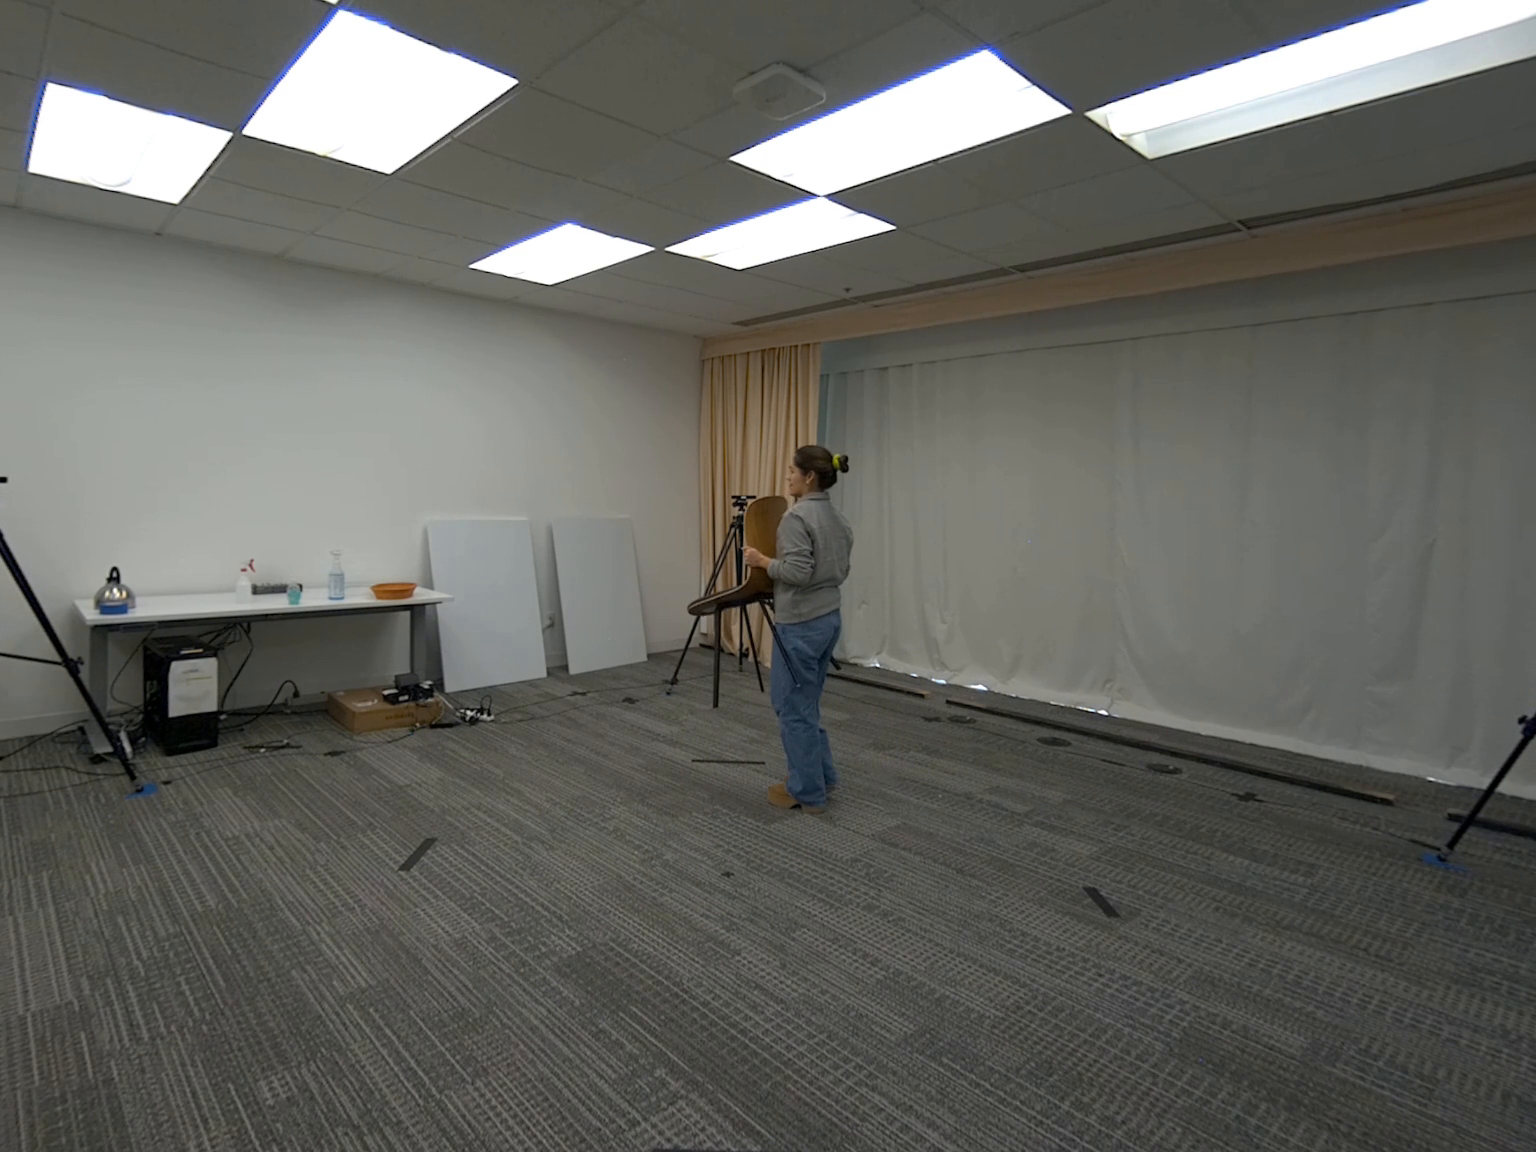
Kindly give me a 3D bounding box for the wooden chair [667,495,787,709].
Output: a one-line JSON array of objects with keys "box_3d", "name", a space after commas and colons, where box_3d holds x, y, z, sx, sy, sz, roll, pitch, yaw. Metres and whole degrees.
[{"box_3d": [-0.094, 0.122, 3.922, 0.531, 0.882, 0.469, -16, -6, 31], "name": "wooden chair"}]
